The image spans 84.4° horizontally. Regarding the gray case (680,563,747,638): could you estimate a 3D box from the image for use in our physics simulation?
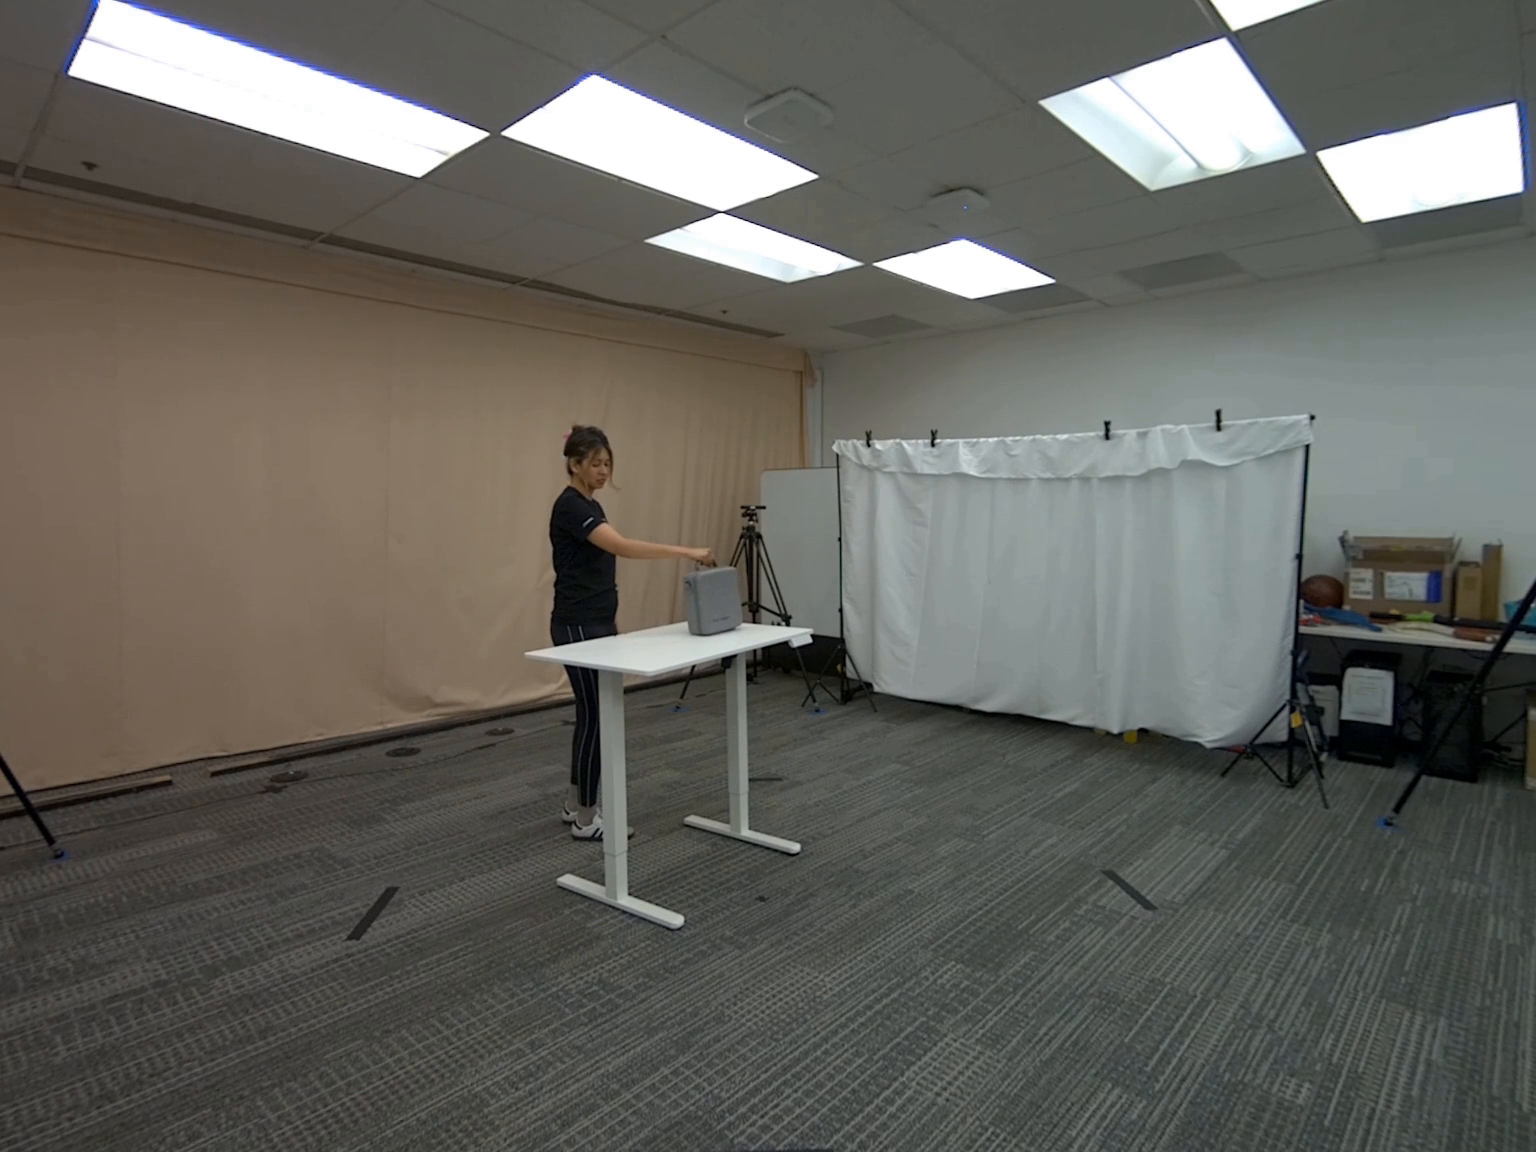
[{"bbox_3d":[-0.217,0.093,3.371,0.107,0.260,0.250,-3,3,37],"label":"gray case"}]
